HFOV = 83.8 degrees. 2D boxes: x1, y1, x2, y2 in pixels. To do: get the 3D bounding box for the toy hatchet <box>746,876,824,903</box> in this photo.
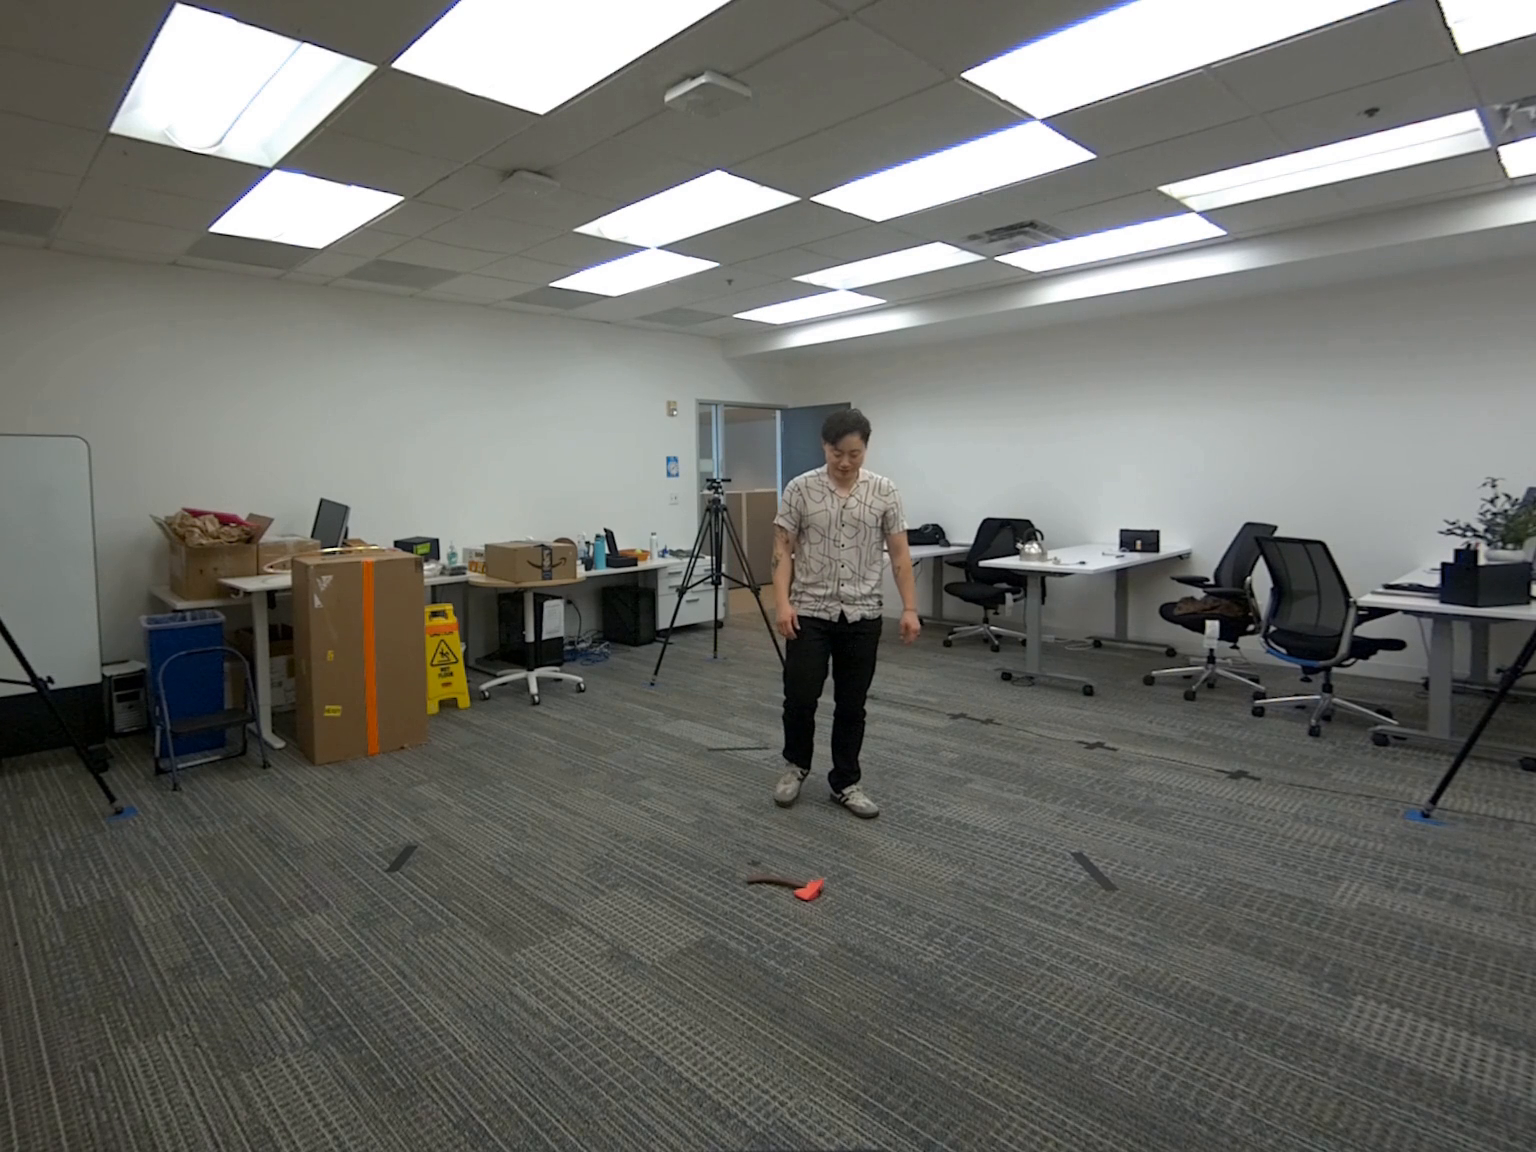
[{"bbox_3d":[0.055,1.059,2.886,0.273,0.029,0.131,-3,11,12],"label":"toy hatchet"}]
